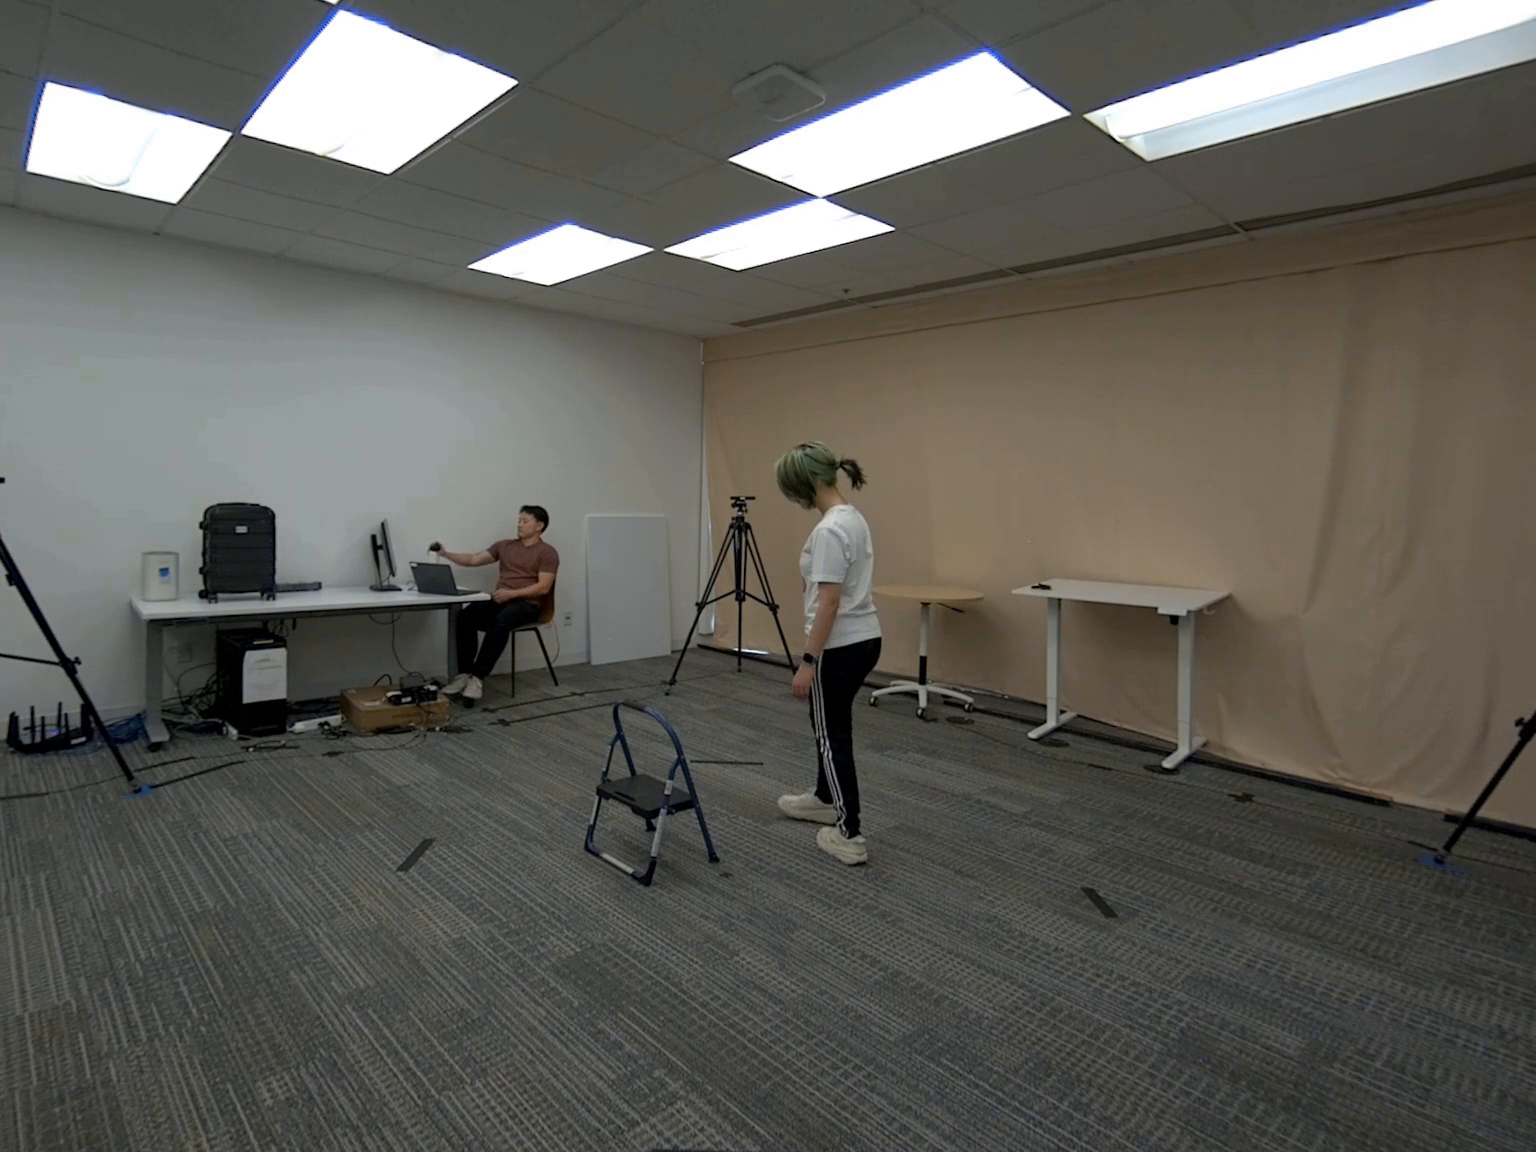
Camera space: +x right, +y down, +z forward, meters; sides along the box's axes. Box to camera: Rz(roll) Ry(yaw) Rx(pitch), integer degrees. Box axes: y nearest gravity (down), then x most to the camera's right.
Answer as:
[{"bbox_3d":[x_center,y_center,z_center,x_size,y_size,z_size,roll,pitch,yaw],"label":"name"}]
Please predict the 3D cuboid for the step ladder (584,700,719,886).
[{"bbox_3d":[-0.453,0.783,3.243,0.341,0.605,0.441,-1,4,-45],"label":"step ladder"}]
